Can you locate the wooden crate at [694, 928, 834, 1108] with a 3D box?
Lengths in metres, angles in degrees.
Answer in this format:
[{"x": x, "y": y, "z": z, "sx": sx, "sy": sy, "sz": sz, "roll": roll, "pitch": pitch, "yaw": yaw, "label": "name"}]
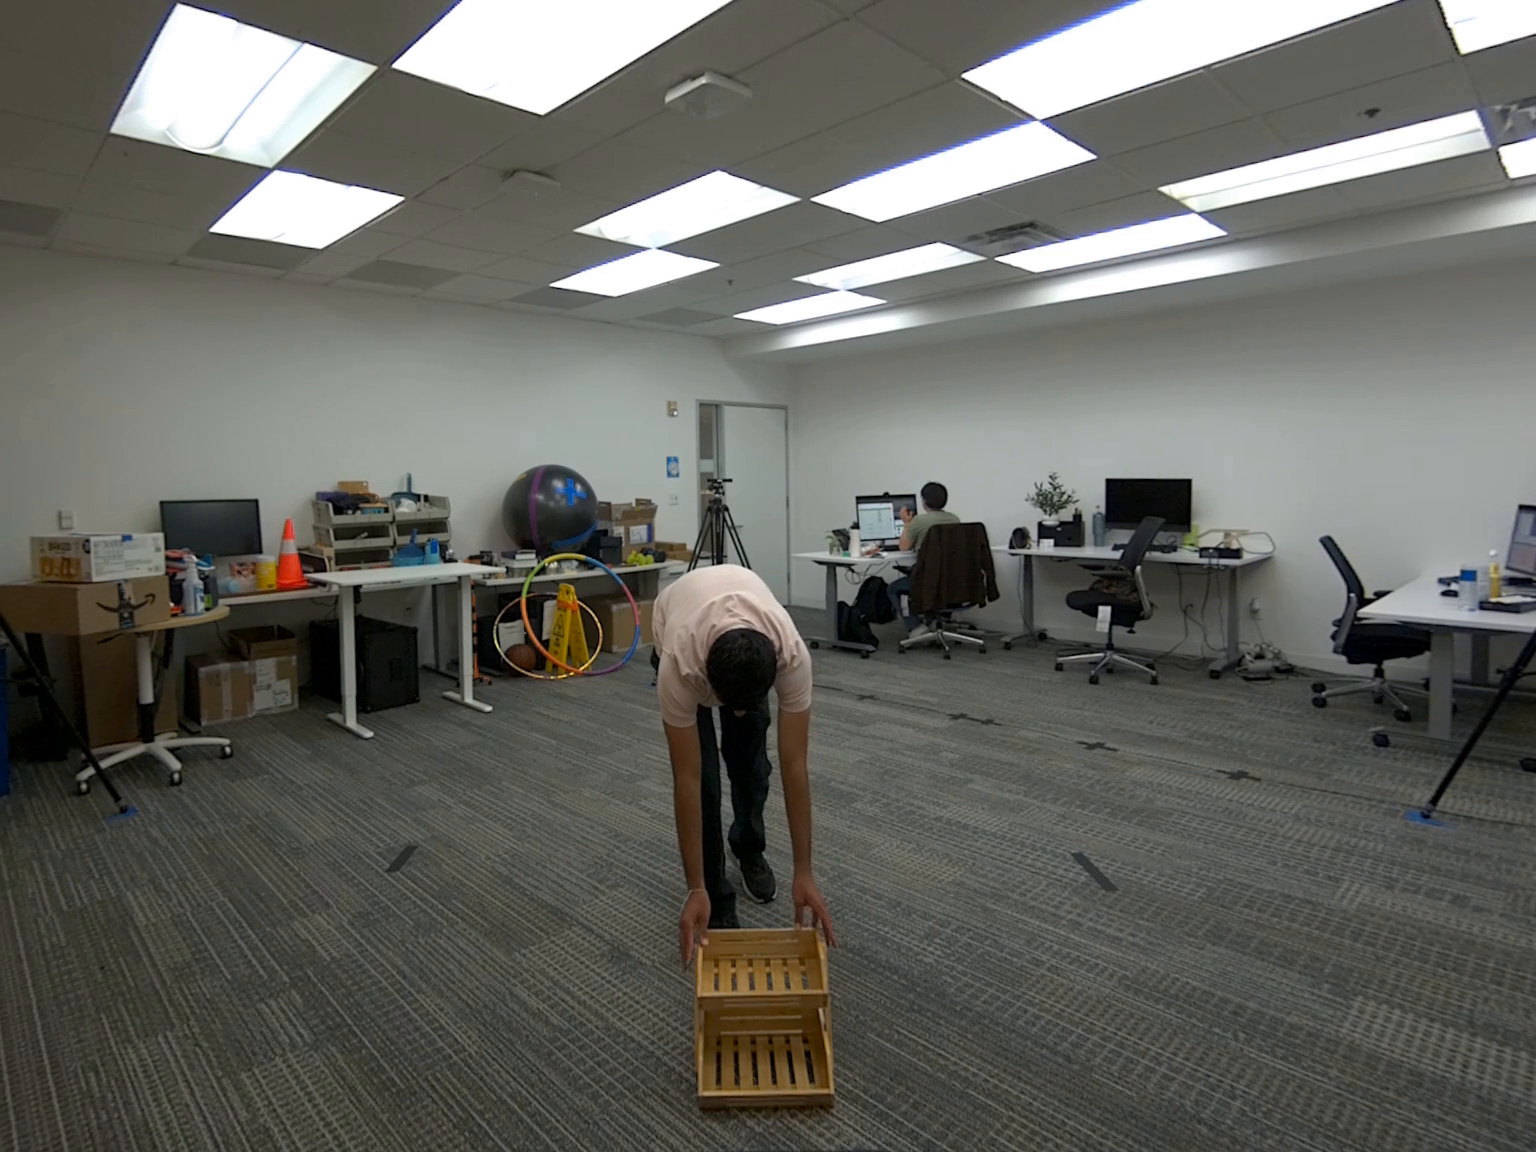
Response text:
[{"x": -0.005, "y": 1.042, "z": 2.021, "sx": 0.324, "sy": 0.272, "sz": 0.303, "roll": -2, "pitch": 5, "yaw": -2, "label": "wooden crate"}]
